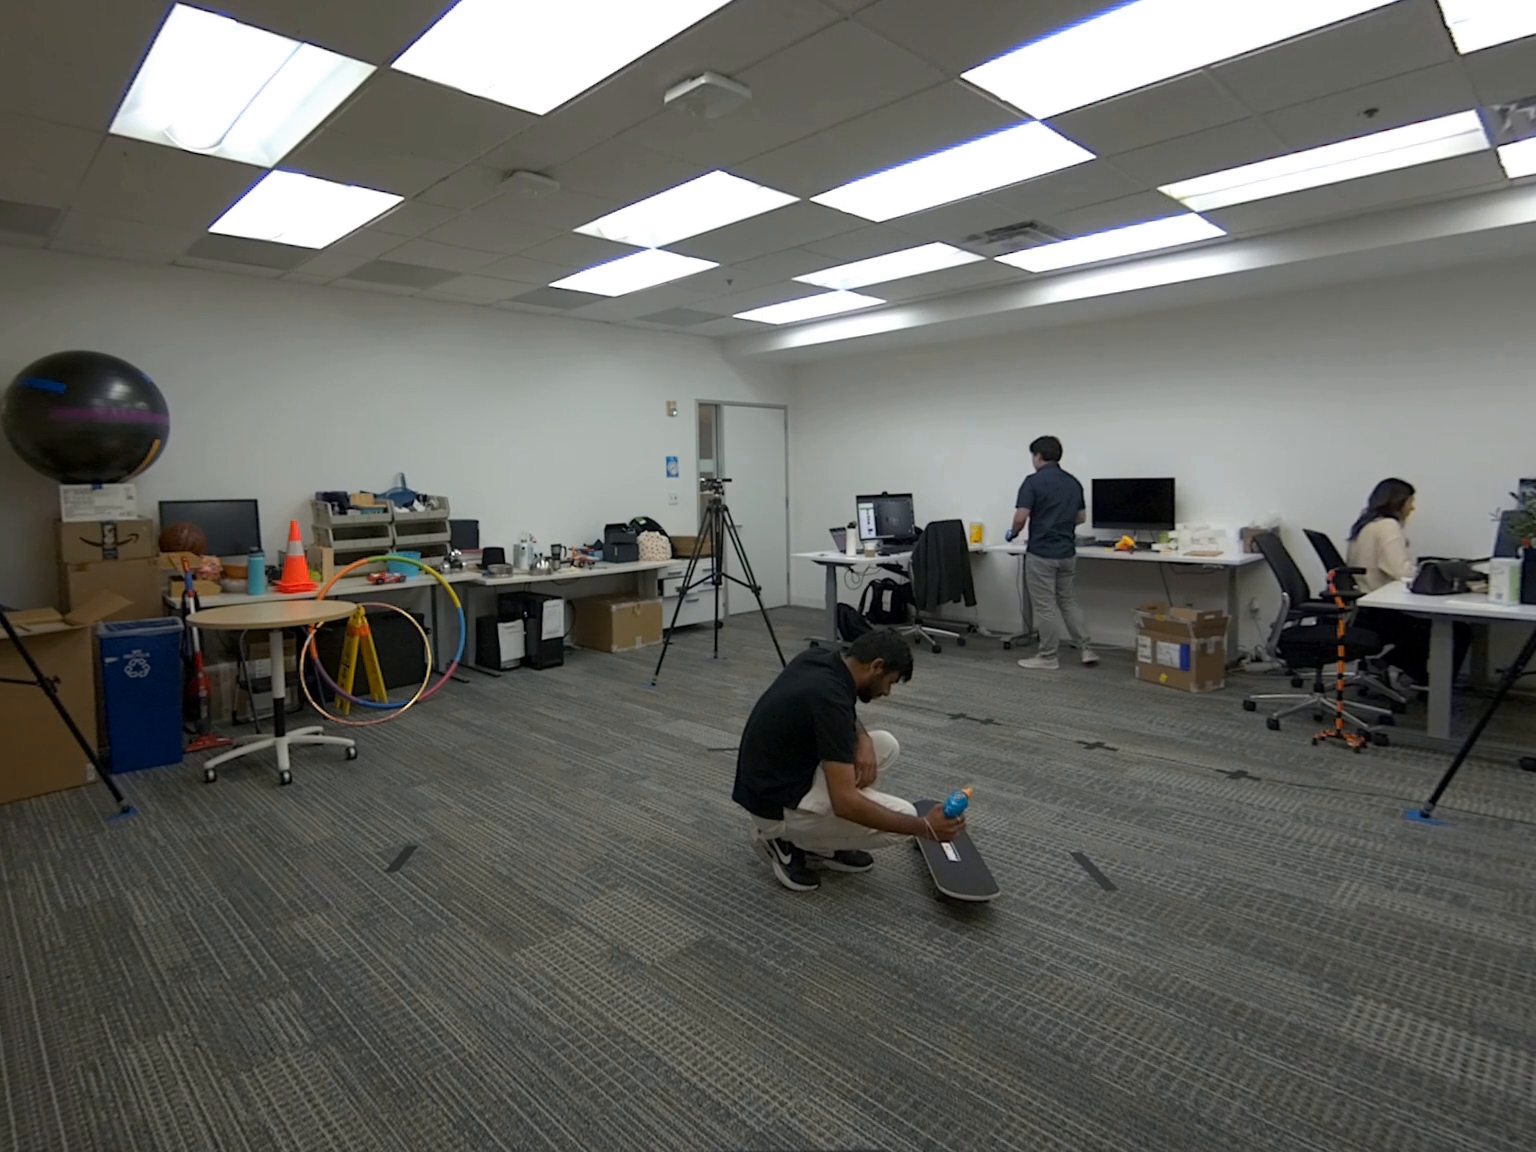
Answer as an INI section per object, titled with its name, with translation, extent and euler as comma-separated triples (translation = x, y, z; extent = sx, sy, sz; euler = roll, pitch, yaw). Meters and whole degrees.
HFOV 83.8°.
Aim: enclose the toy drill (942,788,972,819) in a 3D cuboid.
[toy drill]
translation = 0.590, 0.742, 2.733
extent = 0.063, 0.143, 0.167
euler = 34, 37, 33
